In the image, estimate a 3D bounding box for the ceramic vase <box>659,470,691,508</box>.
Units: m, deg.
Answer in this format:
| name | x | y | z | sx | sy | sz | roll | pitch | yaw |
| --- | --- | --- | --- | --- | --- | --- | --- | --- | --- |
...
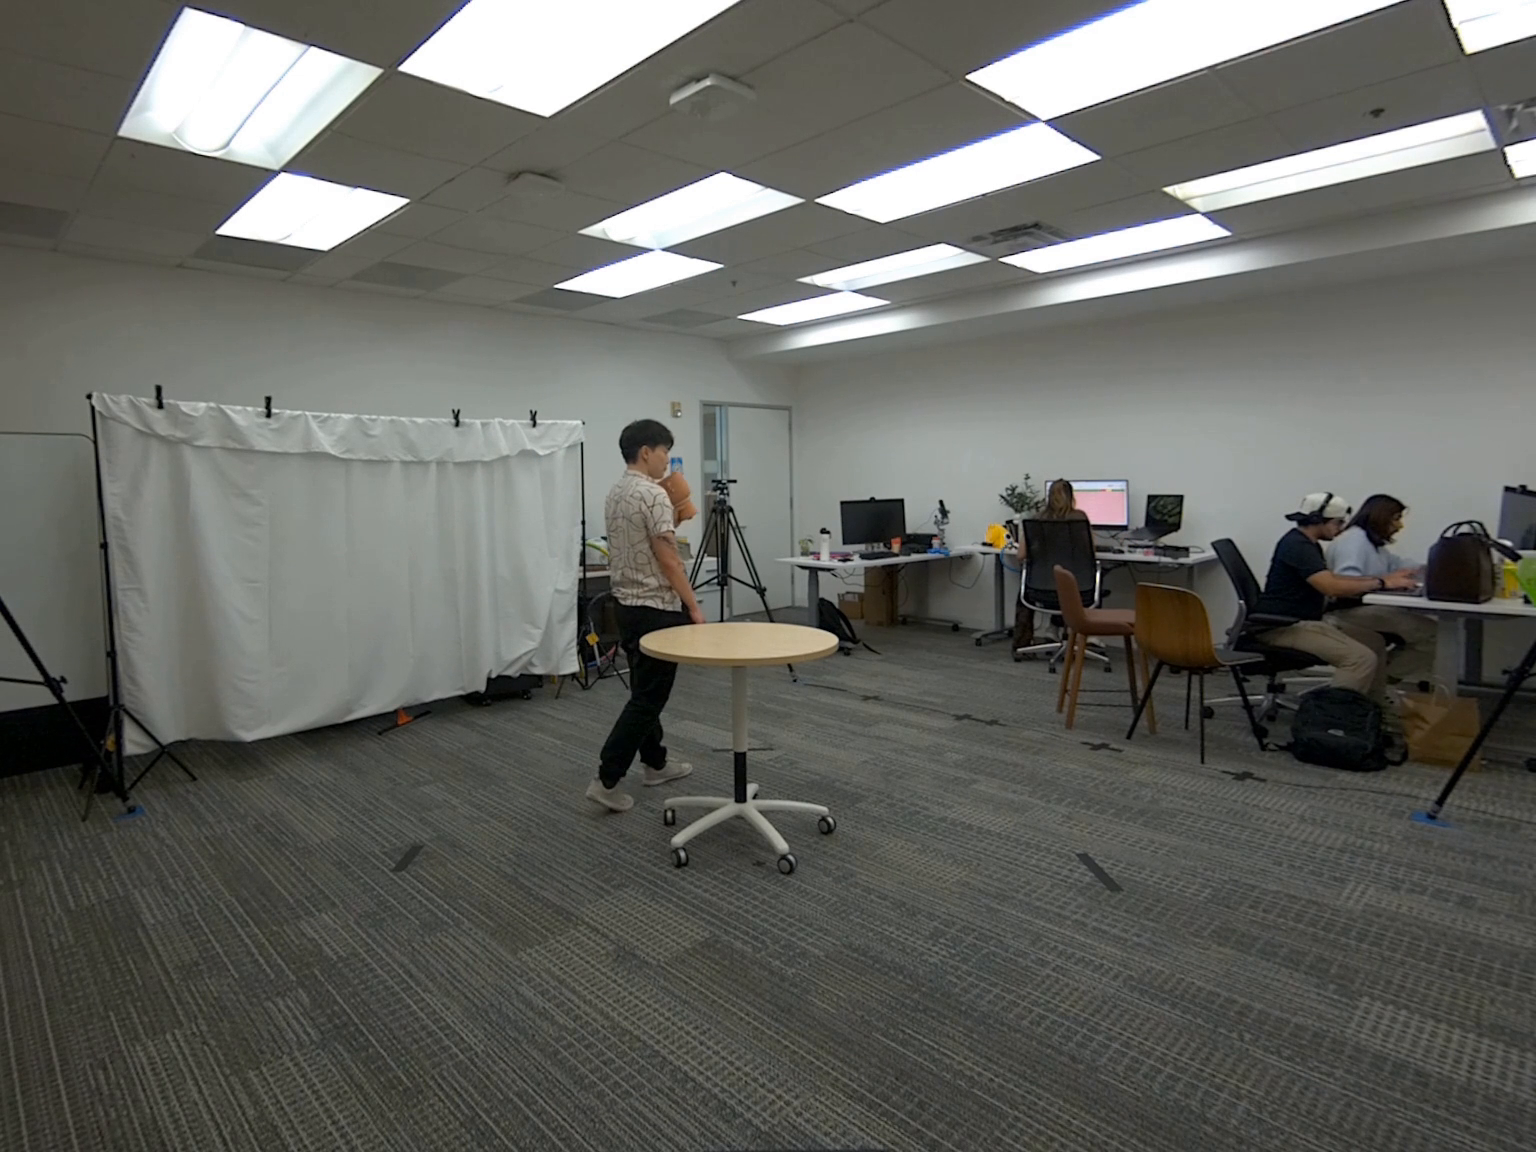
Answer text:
| name | x | y | z | sx | sy | sz | roll | pitch | yaw |
| --- | --- | --- | --- | --- | --- | --- | --- | --- | --- |
| ceramic vase | -0.432 | -0.381 | 4.115 | 0.137 | 0.217 | 0.157 | -19 | 13 | 48 |
